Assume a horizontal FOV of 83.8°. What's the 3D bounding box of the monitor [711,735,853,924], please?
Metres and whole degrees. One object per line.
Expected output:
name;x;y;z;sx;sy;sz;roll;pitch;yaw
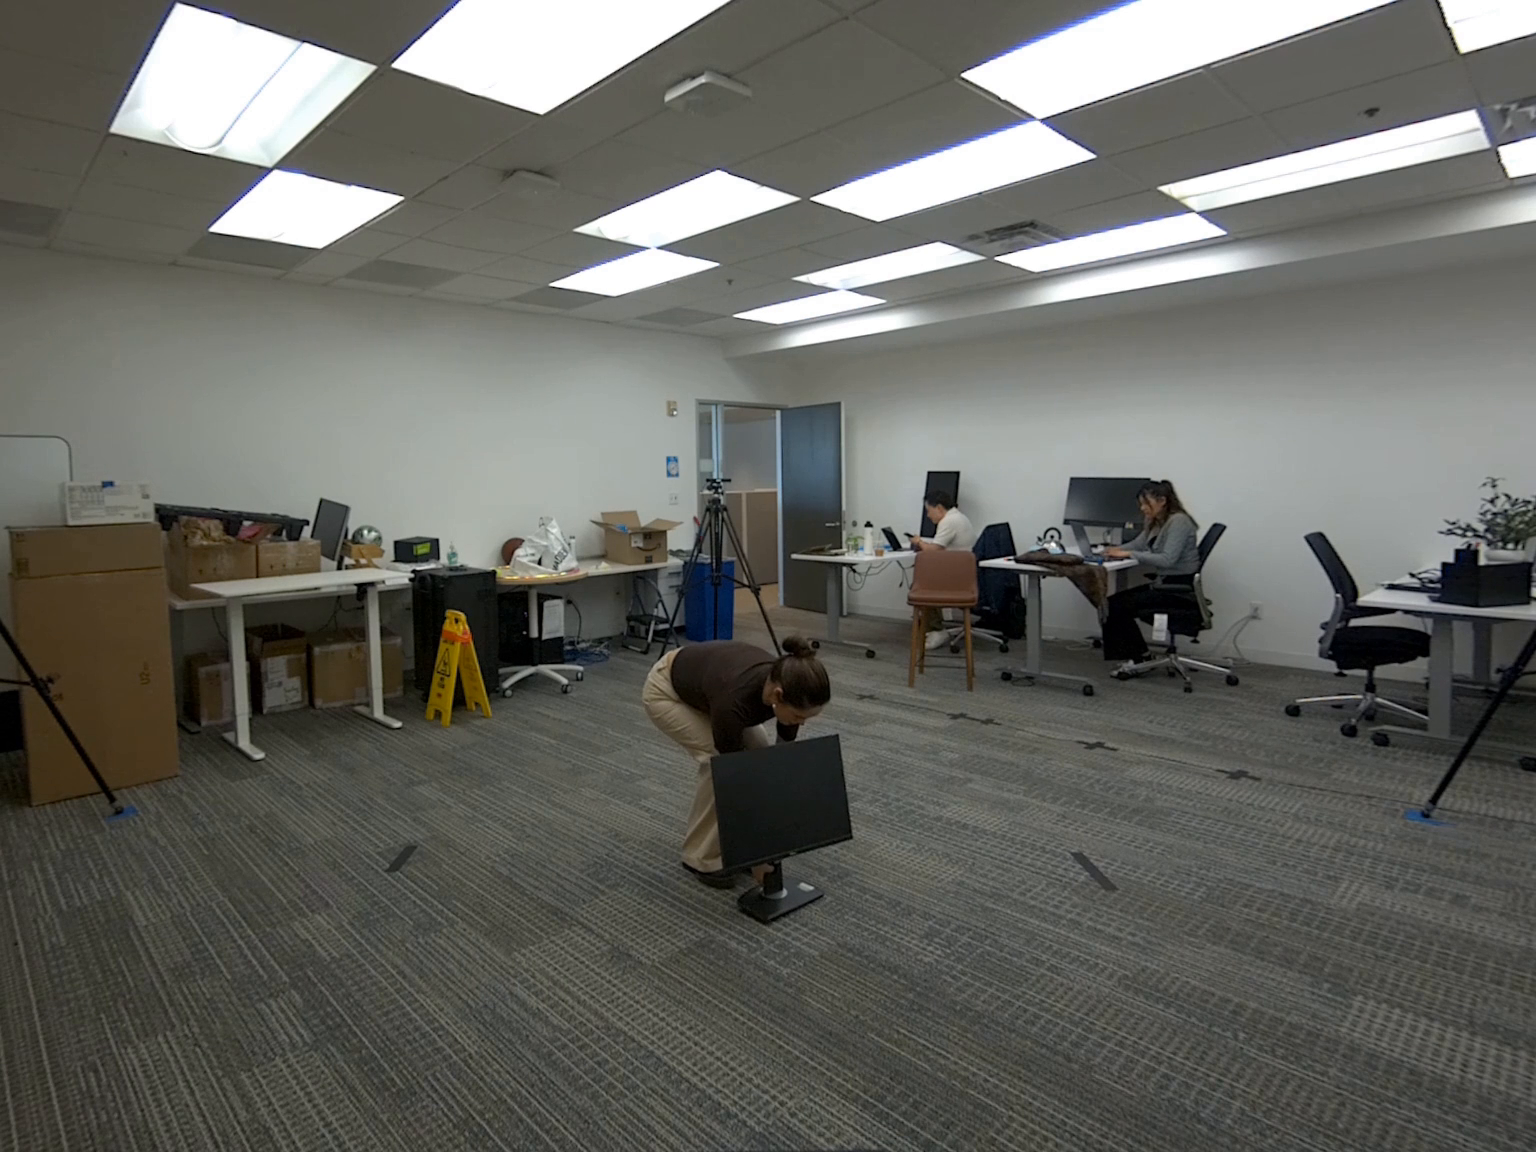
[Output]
monitor;0.034;0.821;2.804;0.524;0.521;0.193;-2;4;-39
